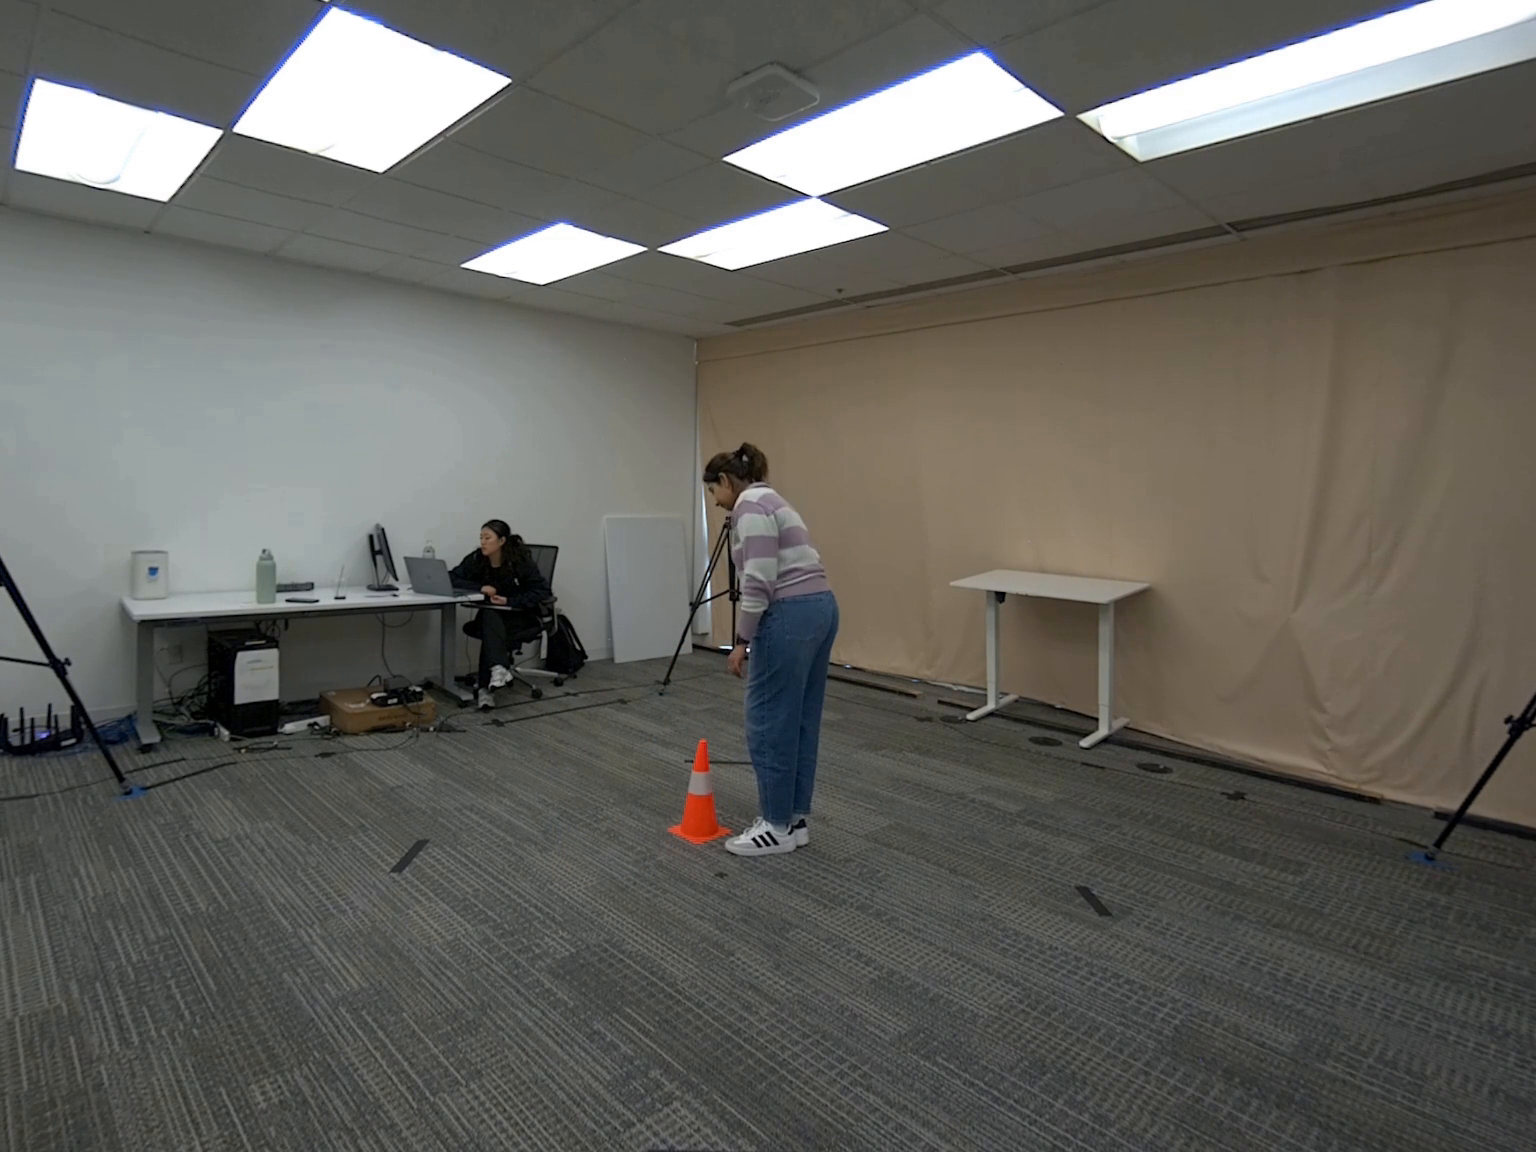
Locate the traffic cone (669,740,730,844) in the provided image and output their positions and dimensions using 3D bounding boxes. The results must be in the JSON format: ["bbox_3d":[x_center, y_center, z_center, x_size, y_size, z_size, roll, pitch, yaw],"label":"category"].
[{"bbox_3d":[-0.285,0.871,3.500,0.210,0.383,0.199,5,5,43],"label":"traffic cone"}]
